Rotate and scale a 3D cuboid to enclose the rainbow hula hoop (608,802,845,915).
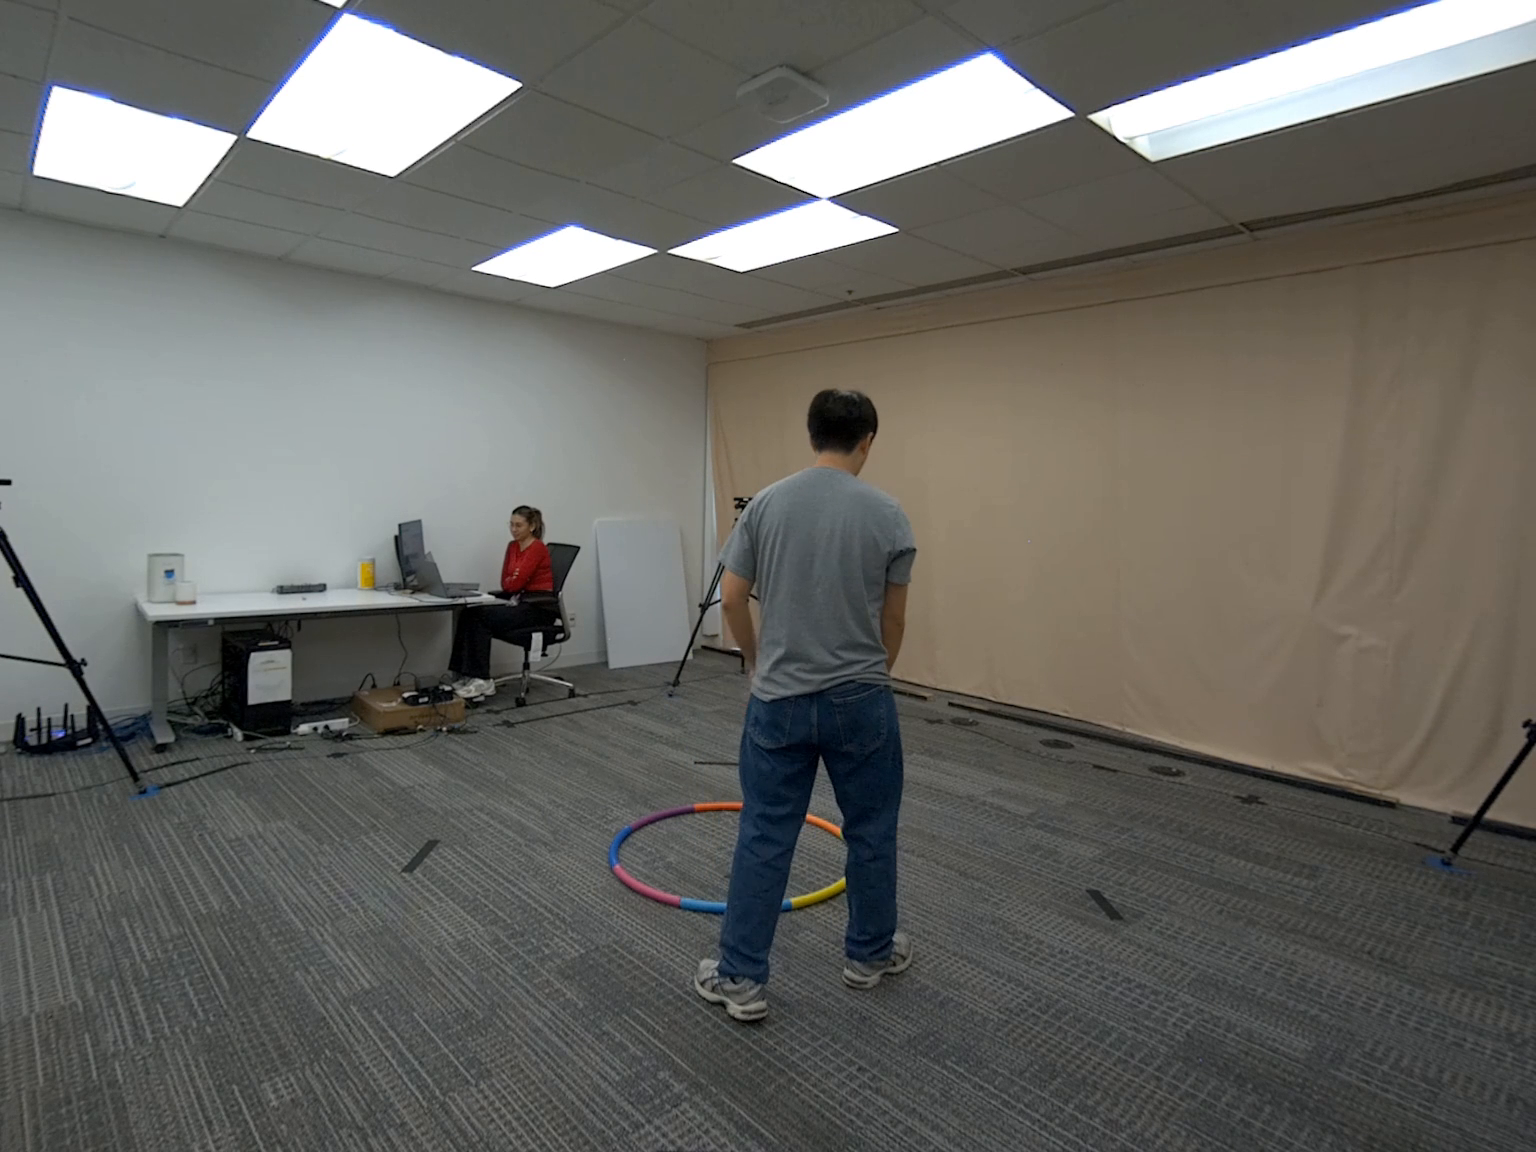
[{"bbox_3d":[-0.139,1.059,3.302,0.978,0.035,0.982,1,5,-1],"label":"rainbow hula hoop"}]
